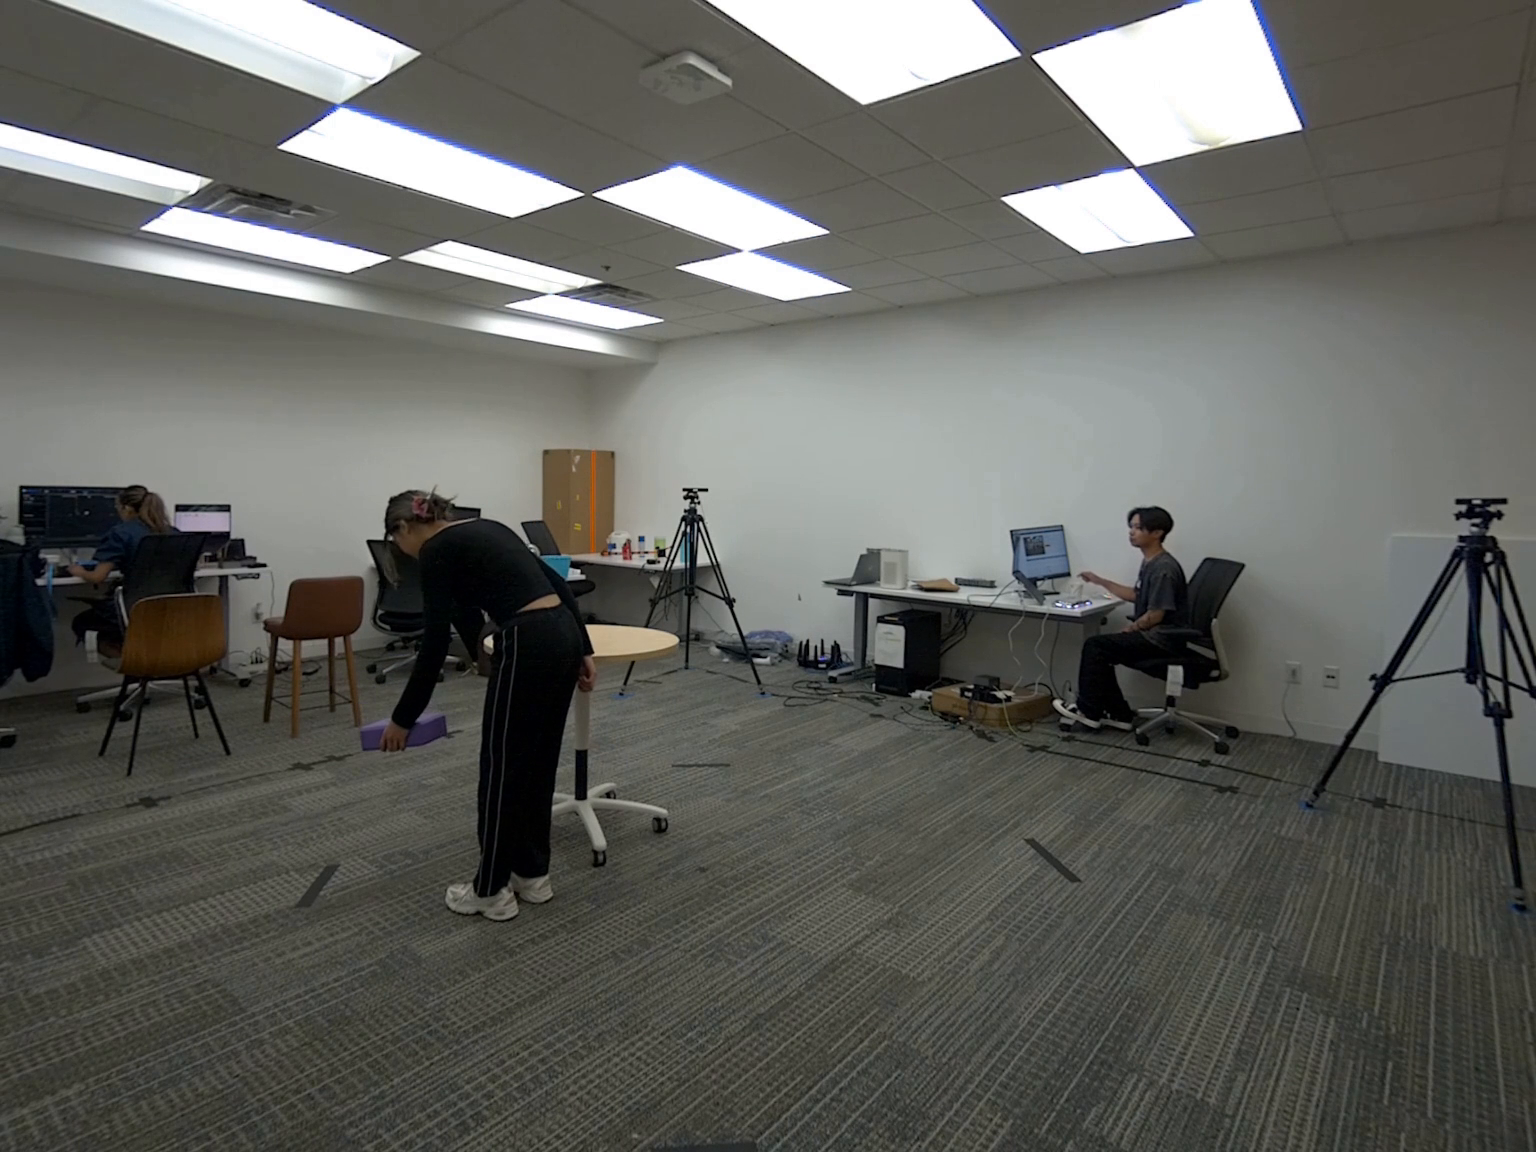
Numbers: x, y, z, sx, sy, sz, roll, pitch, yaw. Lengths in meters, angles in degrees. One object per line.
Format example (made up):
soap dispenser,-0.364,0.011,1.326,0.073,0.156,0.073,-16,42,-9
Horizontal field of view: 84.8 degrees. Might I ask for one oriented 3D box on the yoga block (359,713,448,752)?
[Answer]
yoga block,-1.203,0.502,2.764,0.232,0.076,0.147,-7,2,11
